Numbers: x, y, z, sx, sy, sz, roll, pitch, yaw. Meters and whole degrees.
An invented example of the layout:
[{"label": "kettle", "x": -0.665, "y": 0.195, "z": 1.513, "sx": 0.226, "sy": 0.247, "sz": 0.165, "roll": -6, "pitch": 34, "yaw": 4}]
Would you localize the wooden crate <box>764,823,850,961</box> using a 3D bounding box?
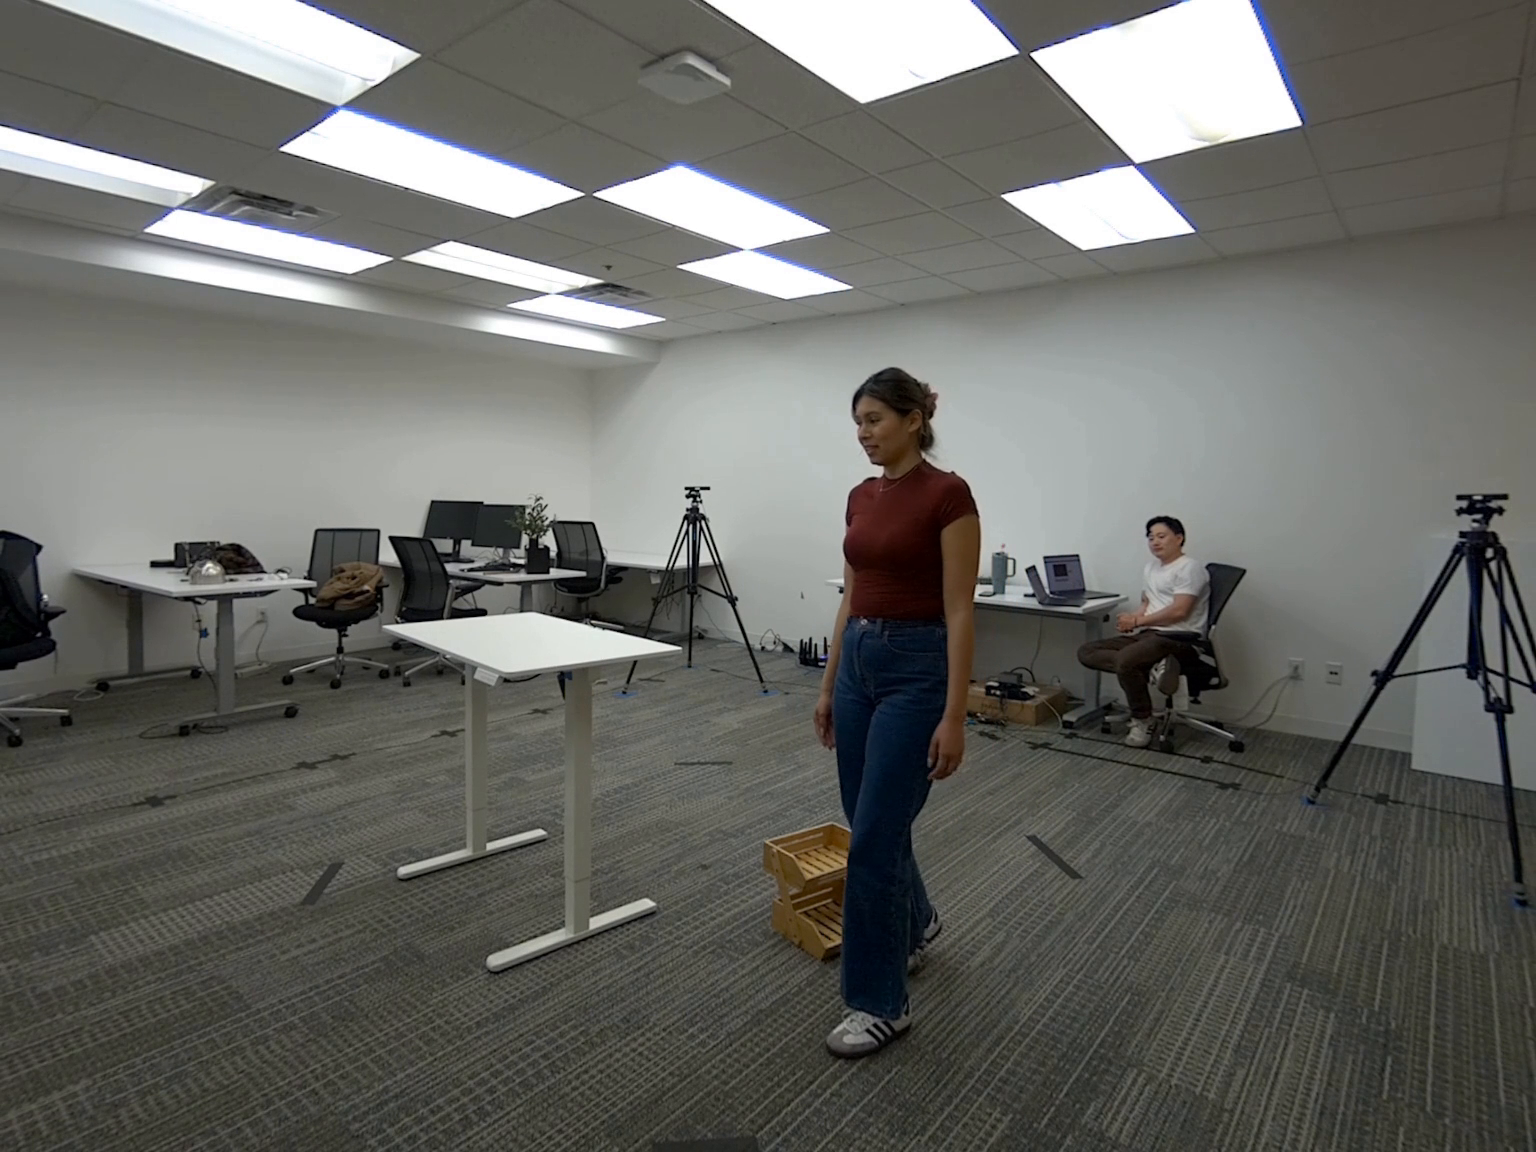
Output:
[{"label": "wooden crate", "x": 0.189, "y": 0.979, "z": 2.691, "sx": 0.315, "sy": 0.272, "sz": 0.312, "roll": -2, "pitch": 5, "yaw": -37}]
